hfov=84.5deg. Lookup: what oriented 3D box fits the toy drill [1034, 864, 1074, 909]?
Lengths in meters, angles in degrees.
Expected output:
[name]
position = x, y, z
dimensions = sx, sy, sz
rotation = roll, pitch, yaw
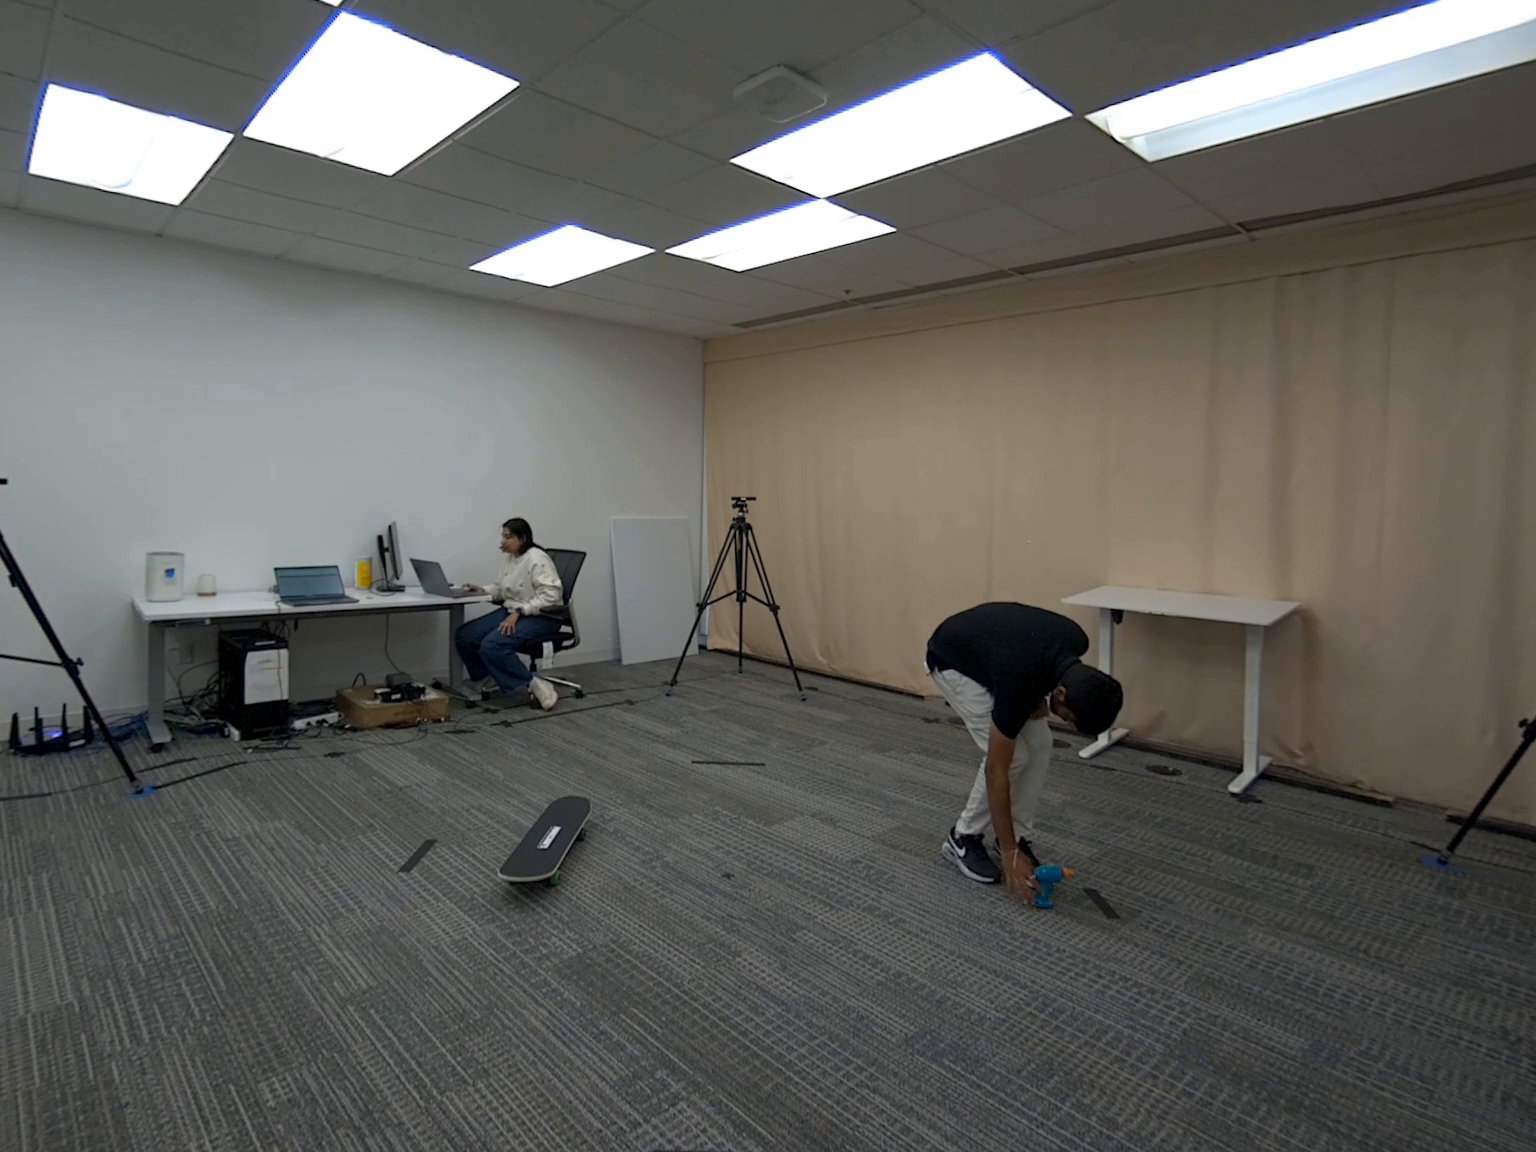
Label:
[toy drill]
position = 0.986, 1.079, 2.949
dimensions = 0.167, 0.146, 0.062
rotation = 5, 2, -17
